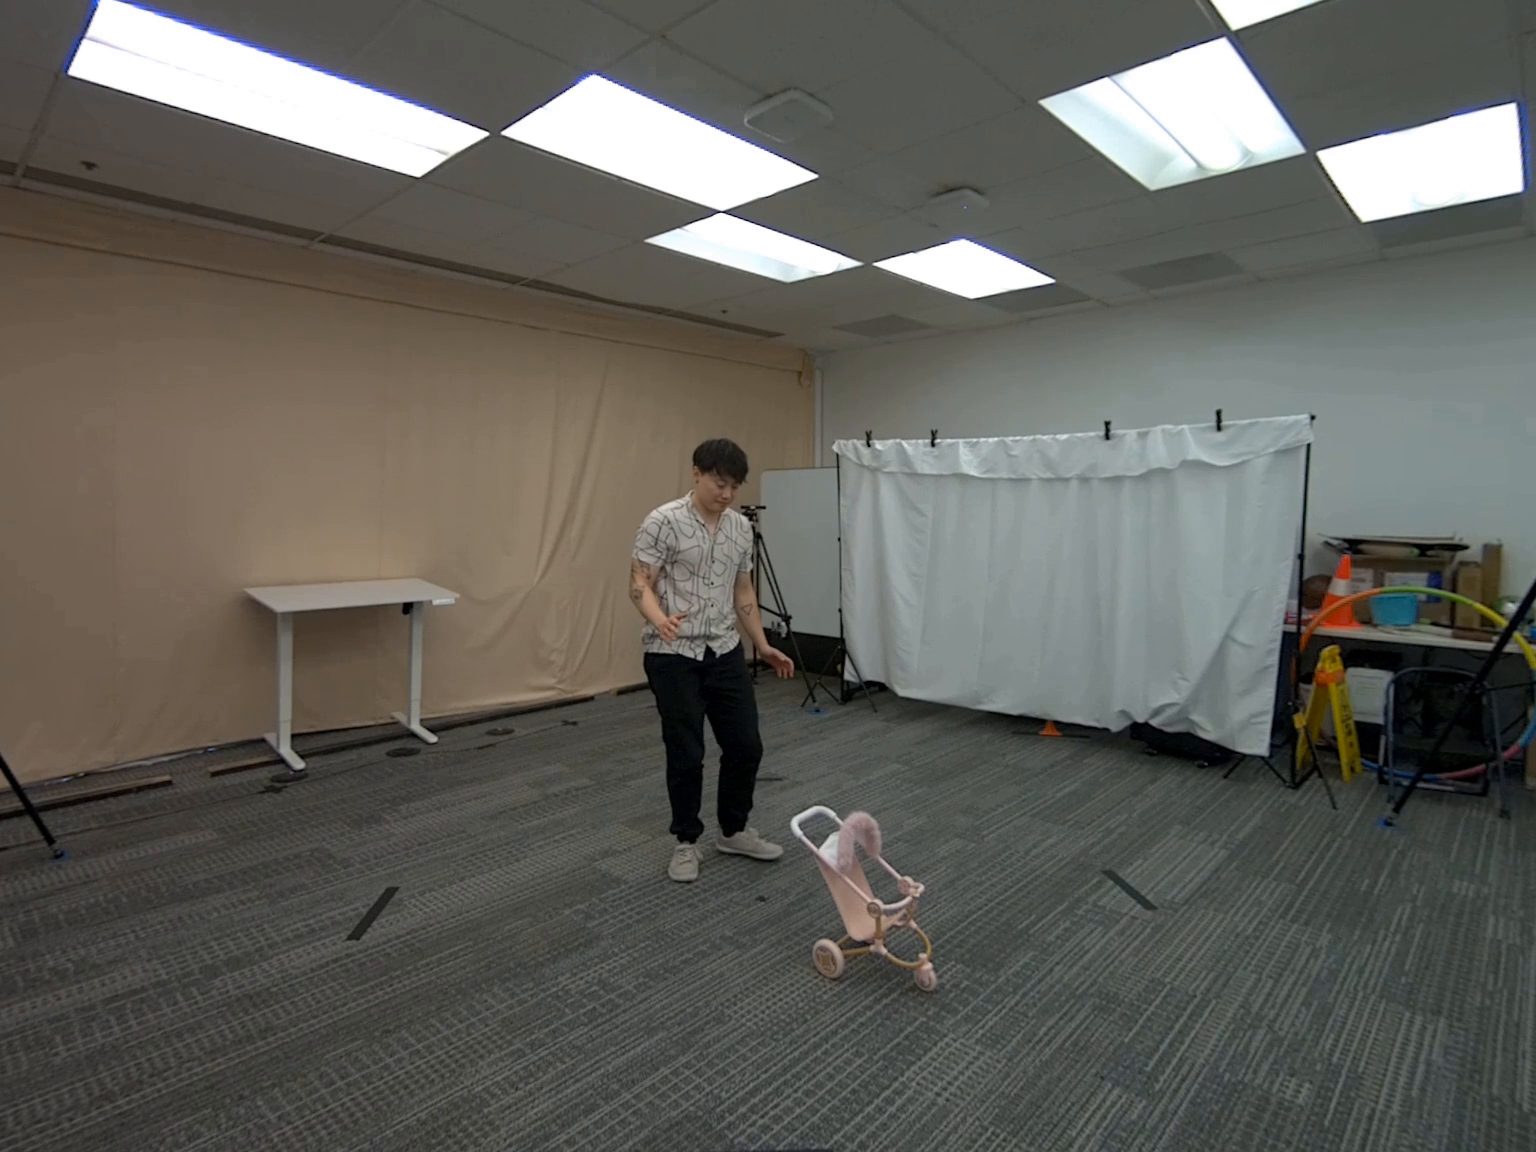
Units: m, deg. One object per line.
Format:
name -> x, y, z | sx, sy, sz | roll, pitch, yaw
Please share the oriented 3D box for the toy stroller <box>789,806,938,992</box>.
toy stroller -> 0.303, 0.958, 2.530 | 0.349, 0.539, 0.273 | -21, -12, 42
